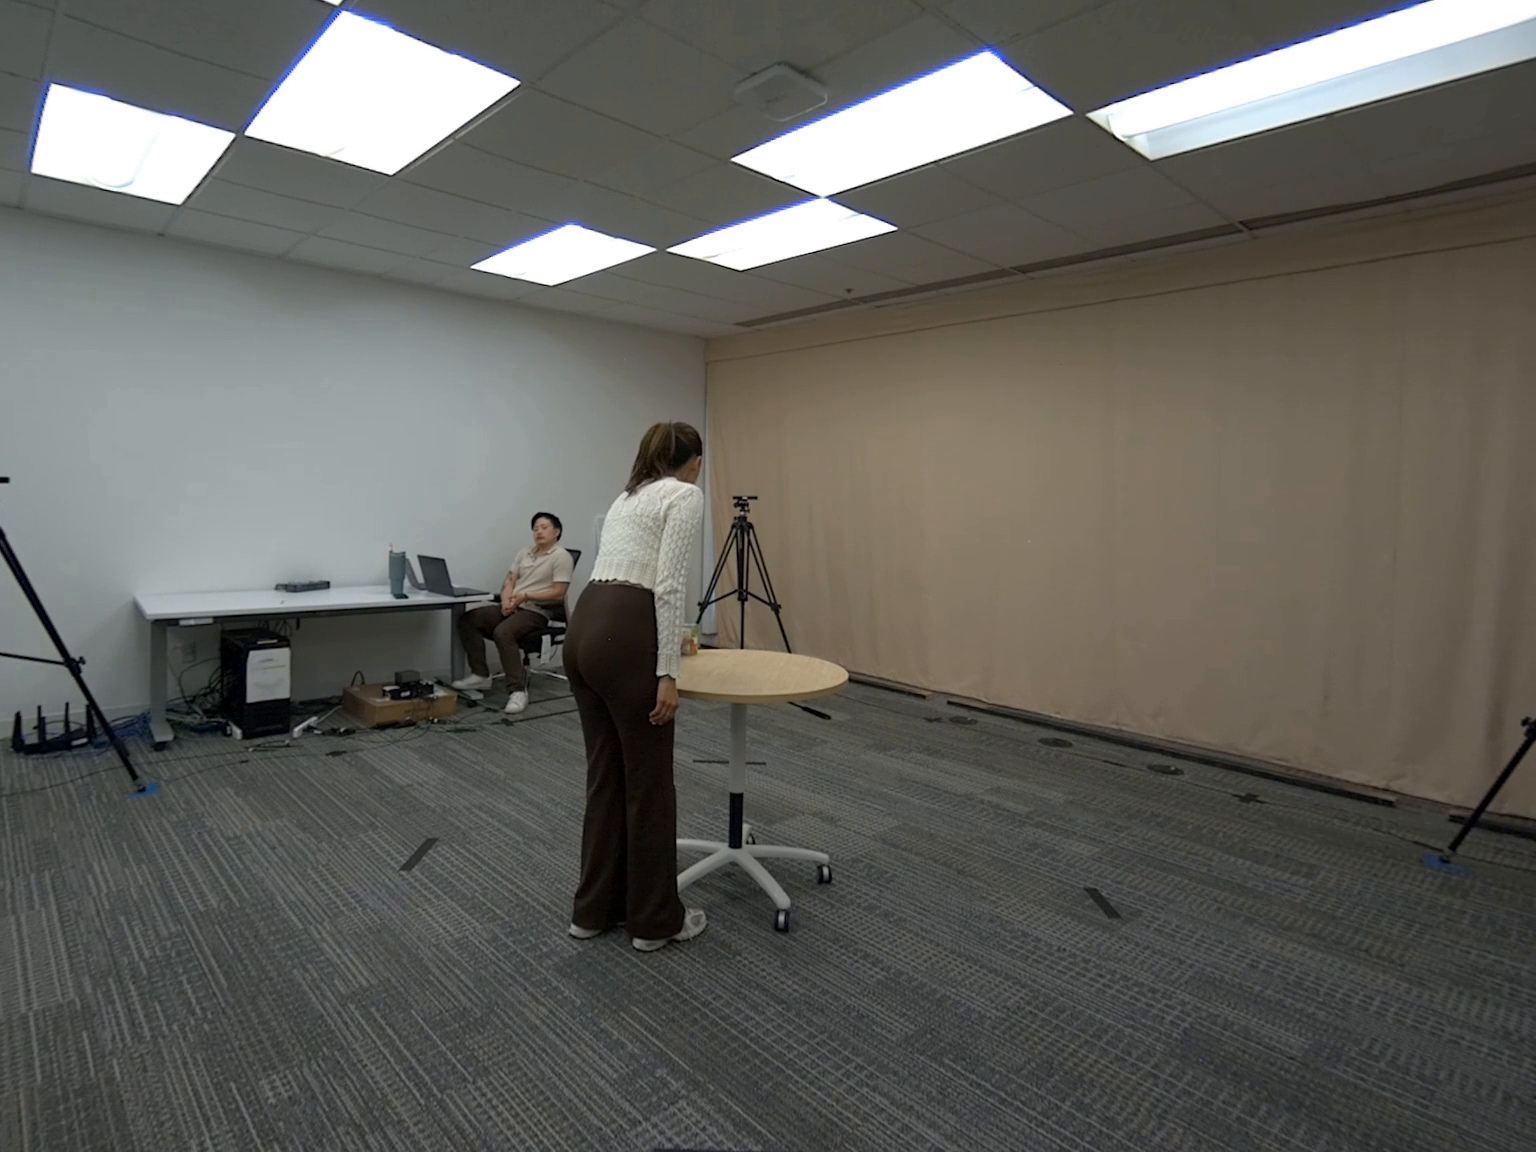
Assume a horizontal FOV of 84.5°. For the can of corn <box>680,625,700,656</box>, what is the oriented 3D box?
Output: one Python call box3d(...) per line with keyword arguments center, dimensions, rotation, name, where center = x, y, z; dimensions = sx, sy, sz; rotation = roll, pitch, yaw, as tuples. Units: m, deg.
box3d(center=(-0.316, 0.246, 3.248), dimensions=(0.074, 0.110, 0.074), rotation=(2, 5, -2), name="can of corn")
